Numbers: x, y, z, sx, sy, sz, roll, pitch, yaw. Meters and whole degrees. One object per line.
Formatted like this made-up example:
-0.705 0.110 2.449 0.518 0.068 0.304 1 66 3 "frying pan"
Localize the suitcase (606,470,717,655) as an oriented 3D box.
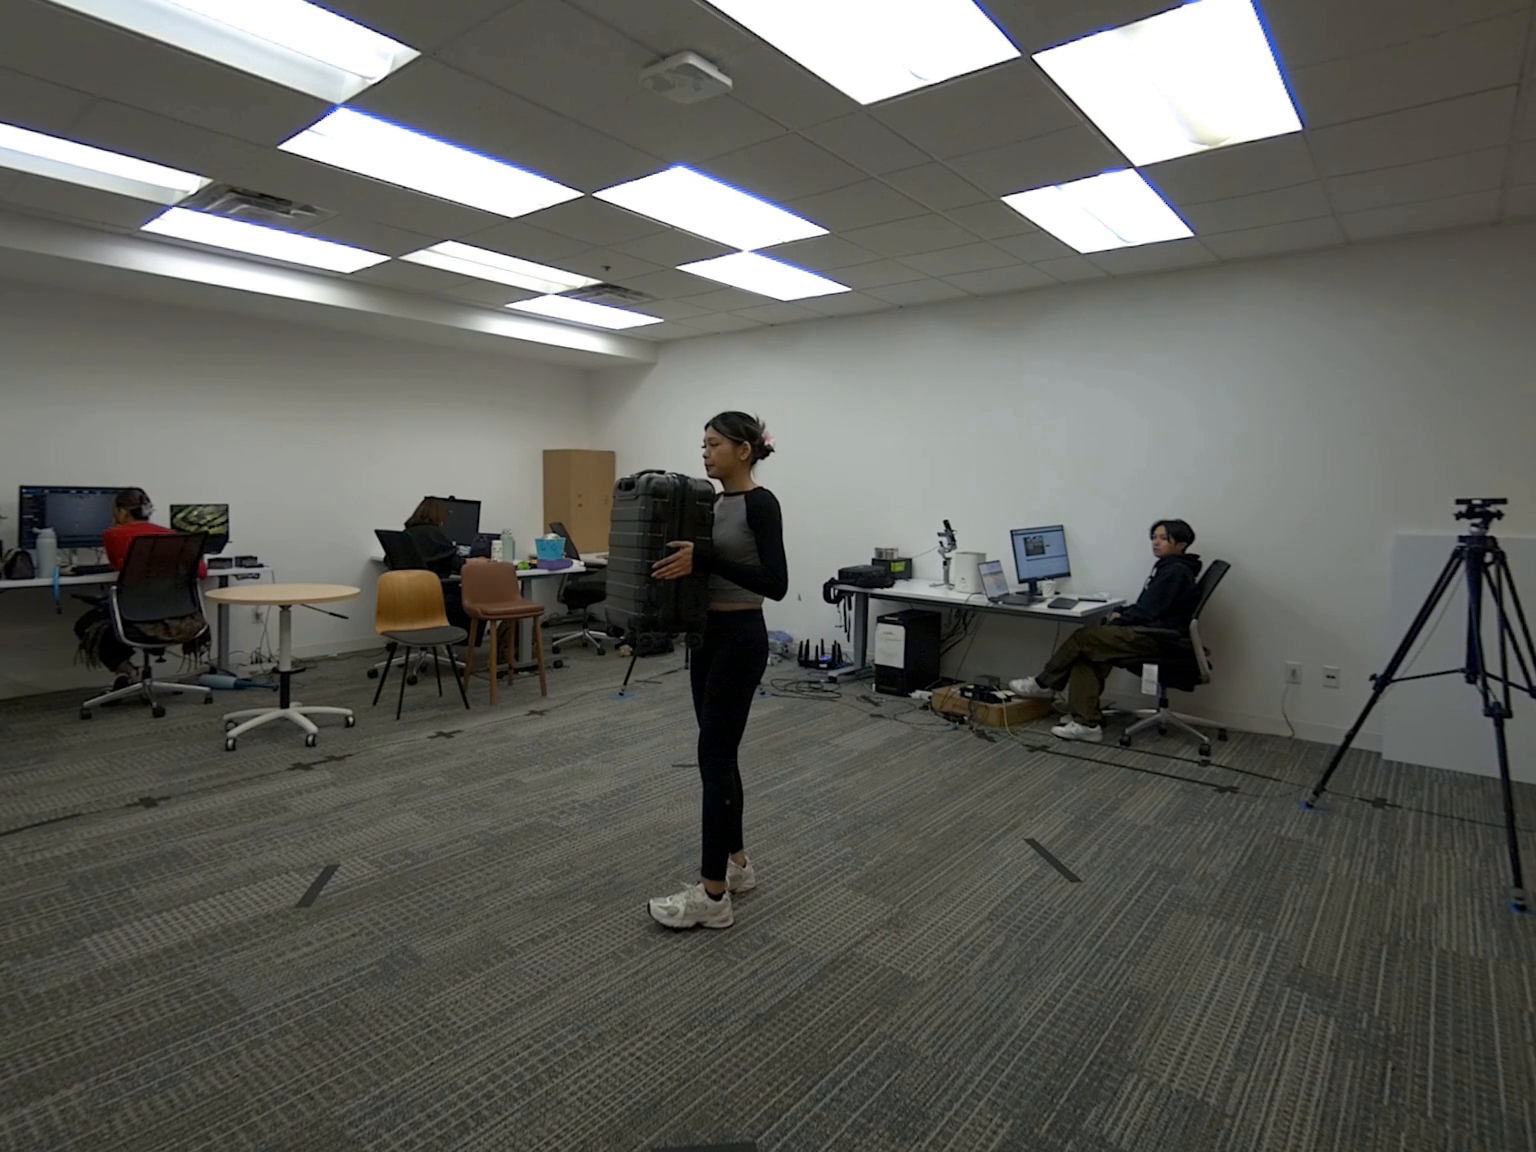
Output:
-0.363 -0.066 2.737 0.242 0.550 0.385 4 -1 -28 "suitcase"
